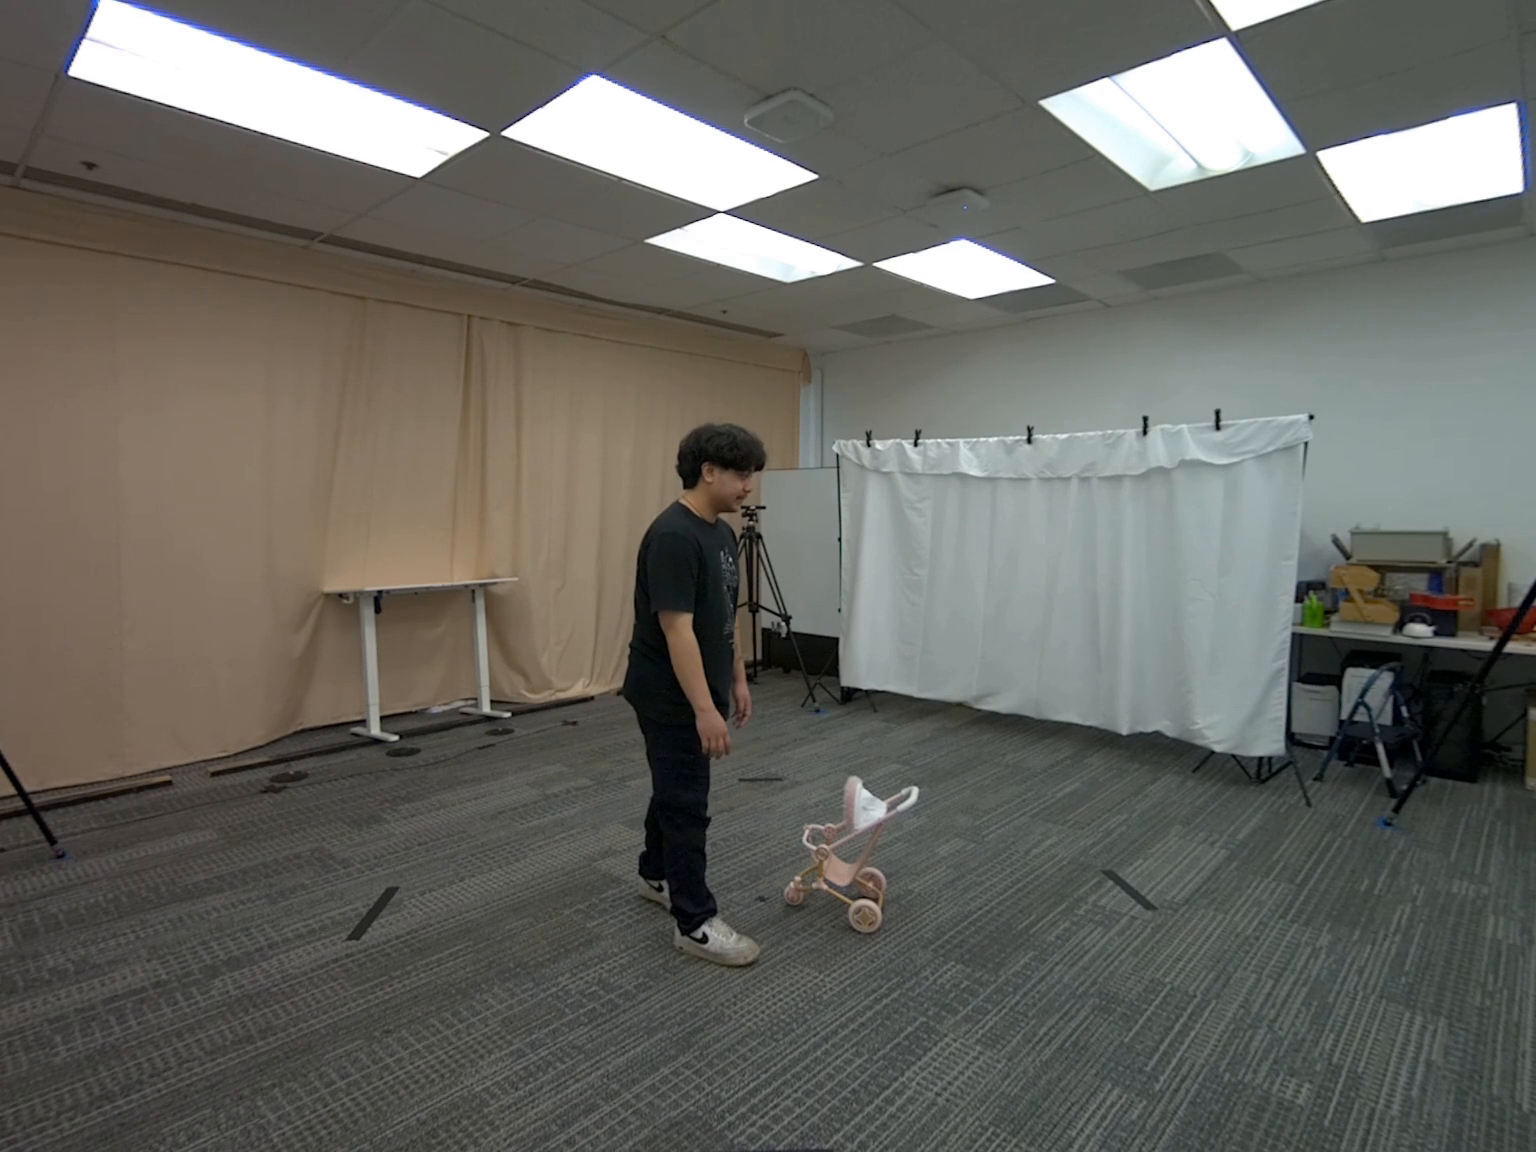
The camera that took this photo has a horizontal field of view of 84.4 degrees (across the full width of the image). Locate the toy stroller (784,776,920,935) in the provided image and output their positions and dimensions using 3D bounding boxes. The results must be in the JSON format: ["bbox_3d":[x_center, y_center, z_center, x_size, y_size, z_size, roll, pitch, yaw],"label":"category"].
[{"bbox_3d":[0.282,0.928,2.875,0.349,0.533,0.276,17,8,17],"label":"toy stroller"}]
